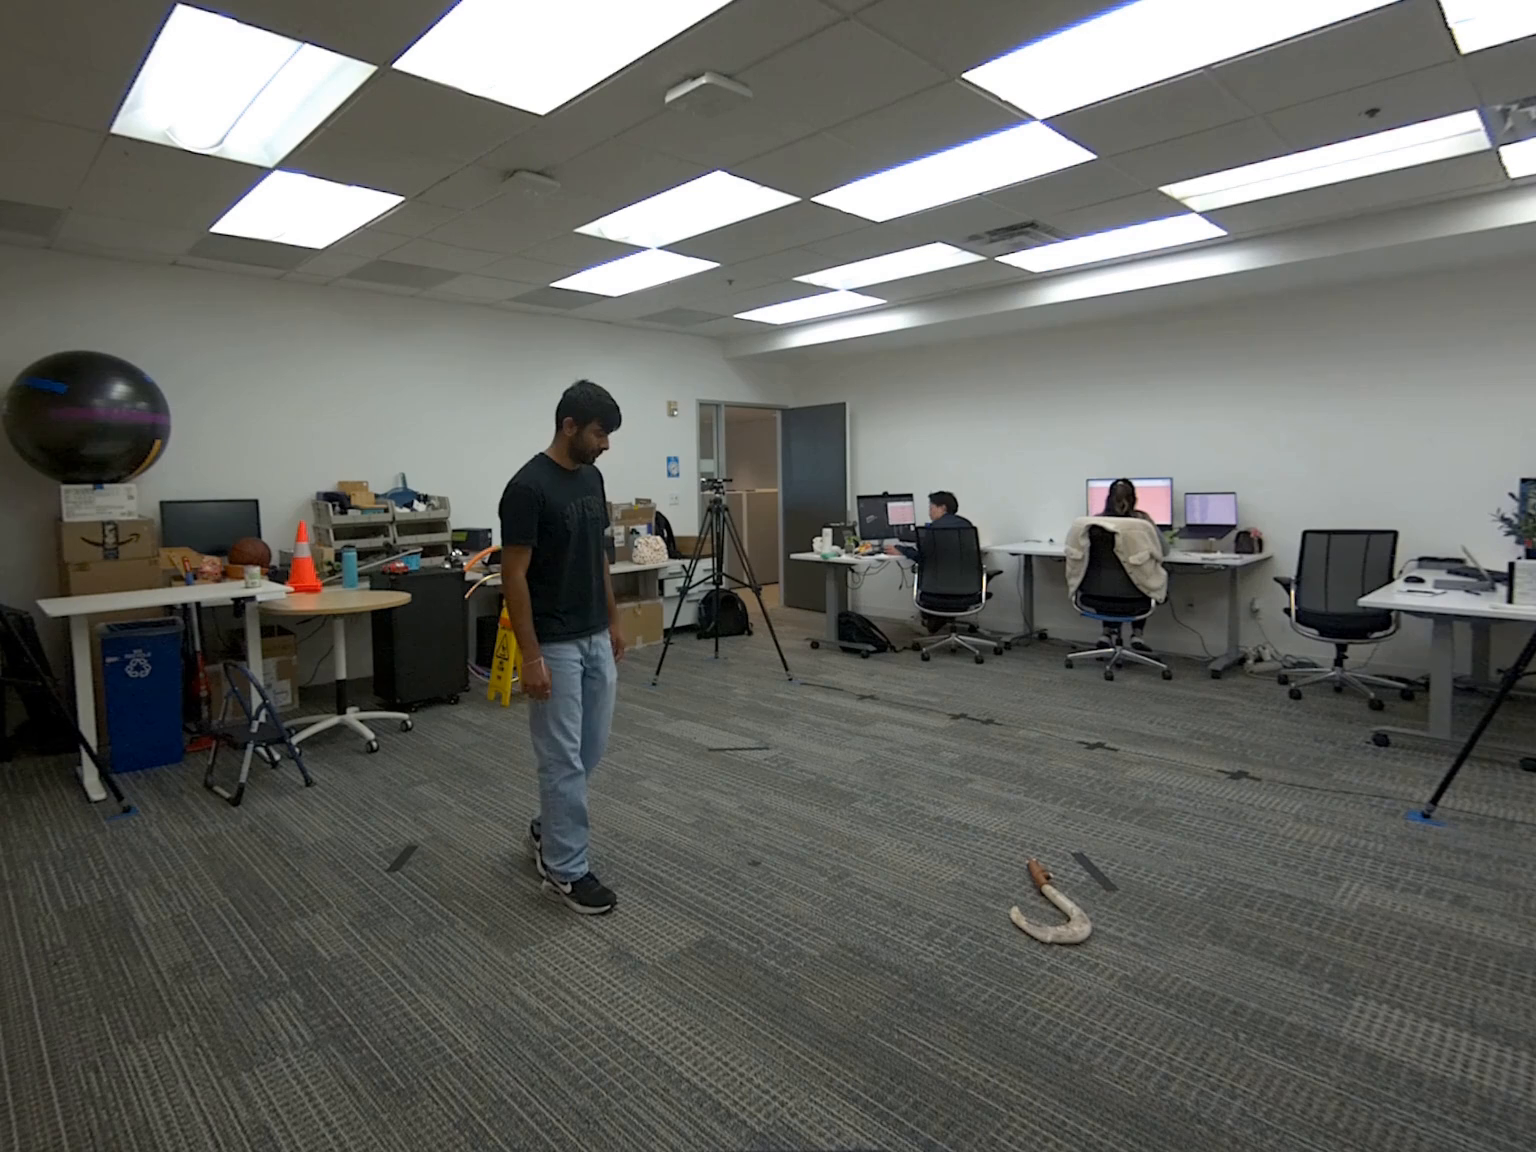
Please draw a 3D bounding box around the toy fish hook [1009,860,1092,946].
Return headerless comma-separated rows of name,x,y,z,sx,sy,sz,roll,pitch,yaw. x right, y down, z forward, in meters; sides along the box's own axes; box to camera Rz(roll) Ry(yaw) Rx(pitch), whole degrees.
toy fish hook,0.869,1.035,2.772,0.225,0.048,0.507,0,6,1
